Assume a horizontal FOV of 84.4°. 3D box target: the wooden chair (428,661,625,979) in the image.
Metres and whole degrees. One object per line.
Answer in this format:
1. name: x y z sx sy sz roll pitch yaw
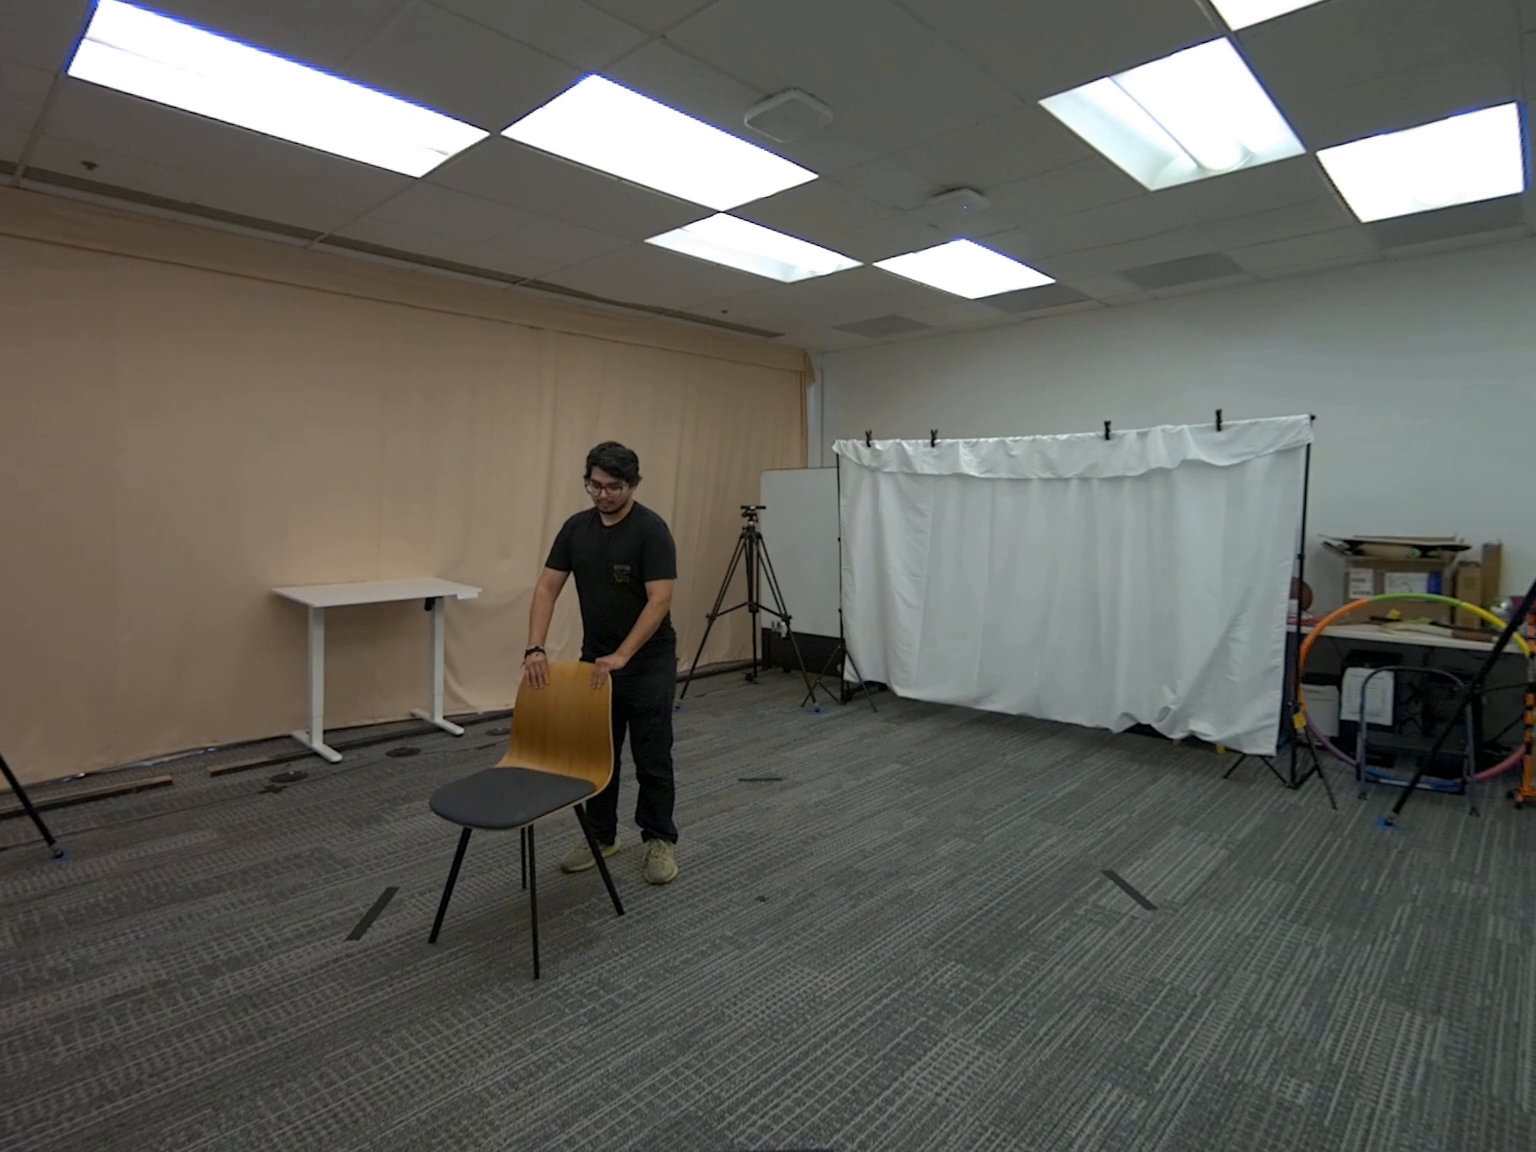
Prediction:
1. wooden chair: -0.782 0.740 2.749 0.491 0.877 0.509 2 0 27
